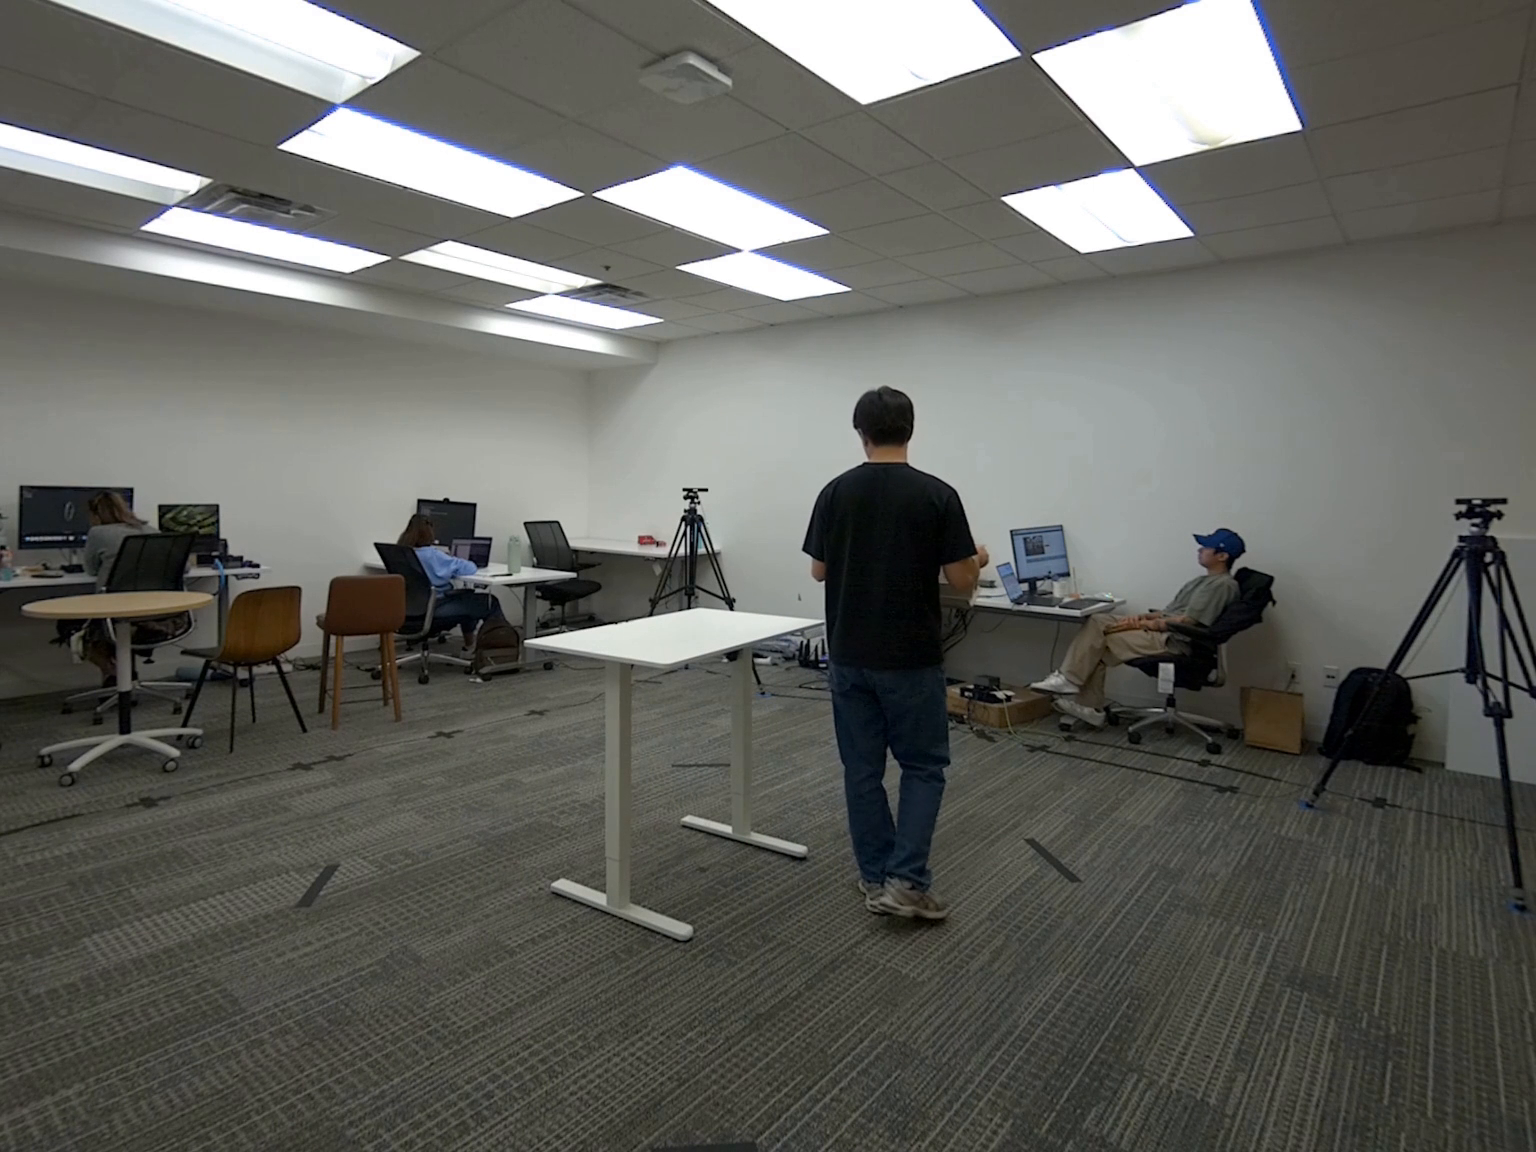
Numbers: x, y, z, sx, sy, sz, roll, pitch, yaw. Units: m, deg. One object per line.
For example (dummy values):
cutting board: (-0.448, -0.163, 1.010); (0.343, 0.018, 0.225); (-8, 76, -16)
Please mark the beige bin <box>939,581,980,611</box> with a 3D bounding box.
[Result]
beige bin: (0.561, -0.020, 3.190); (0.432, 0.188, 0.371); (3, 9, 21)
